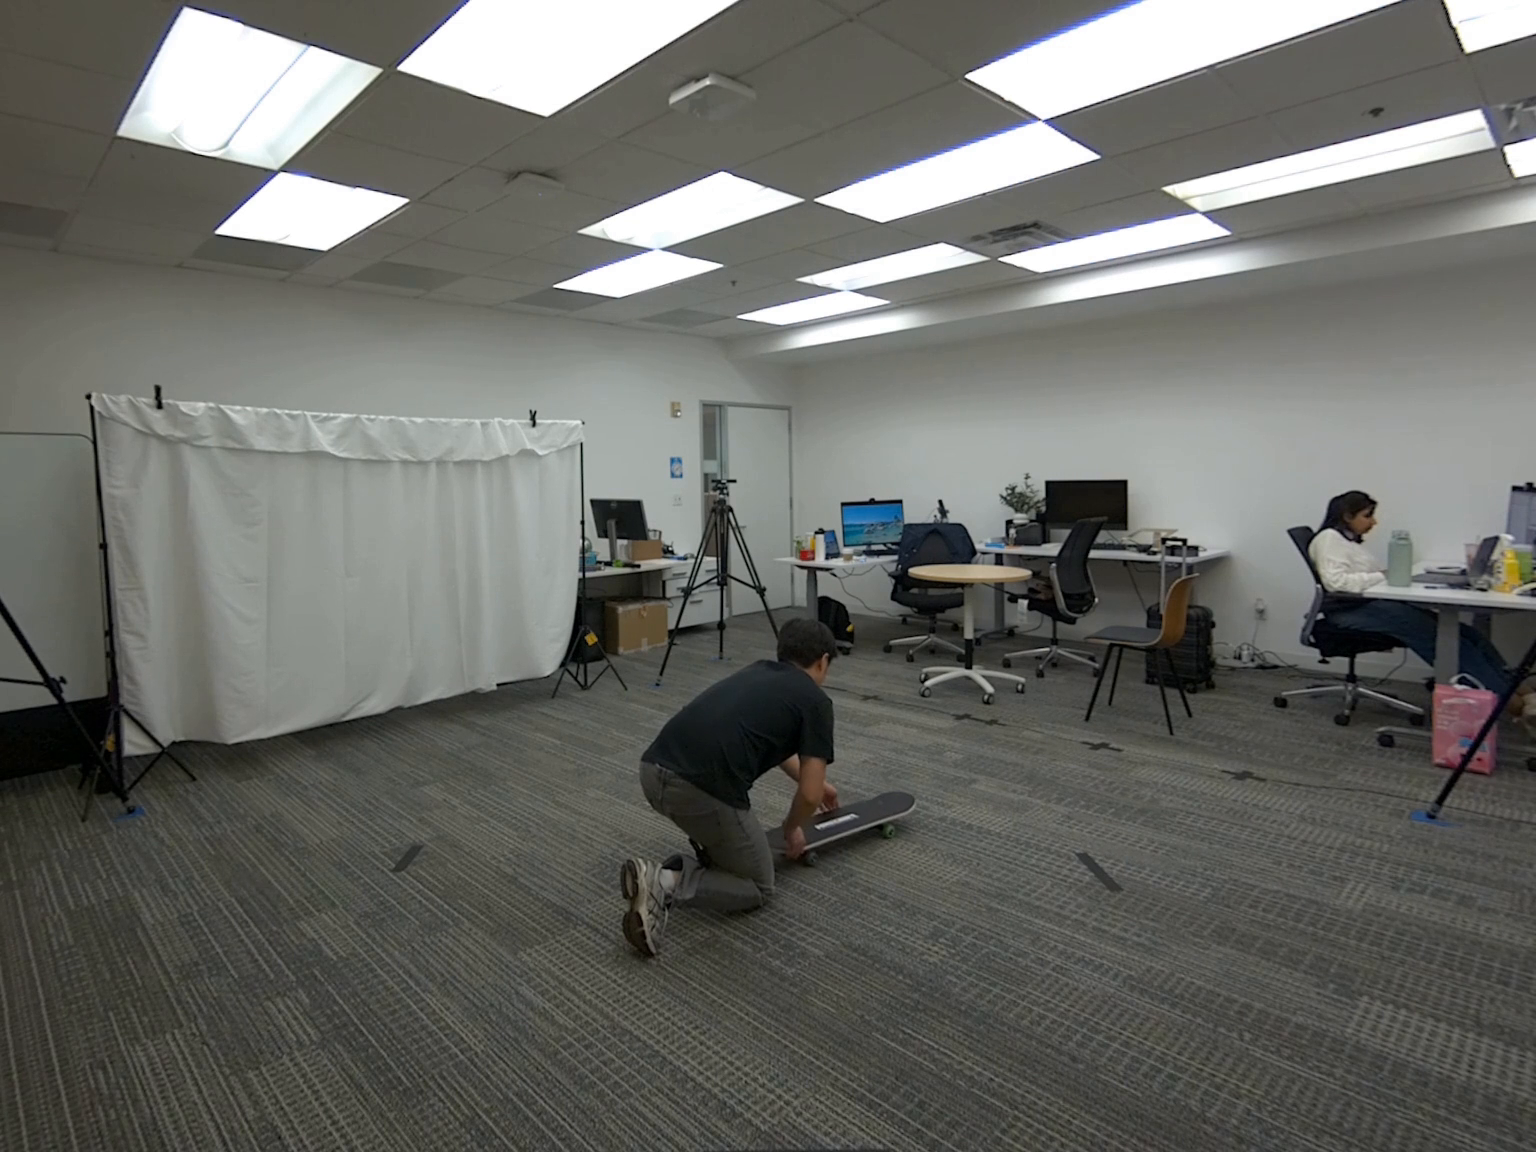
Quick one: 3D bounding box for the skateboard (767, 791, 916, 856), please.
[{"bbox_3d":[0.264,0.969,3.257,0.766,0.110,0.199,-6,8,-35],"label":"skateboard"}]
